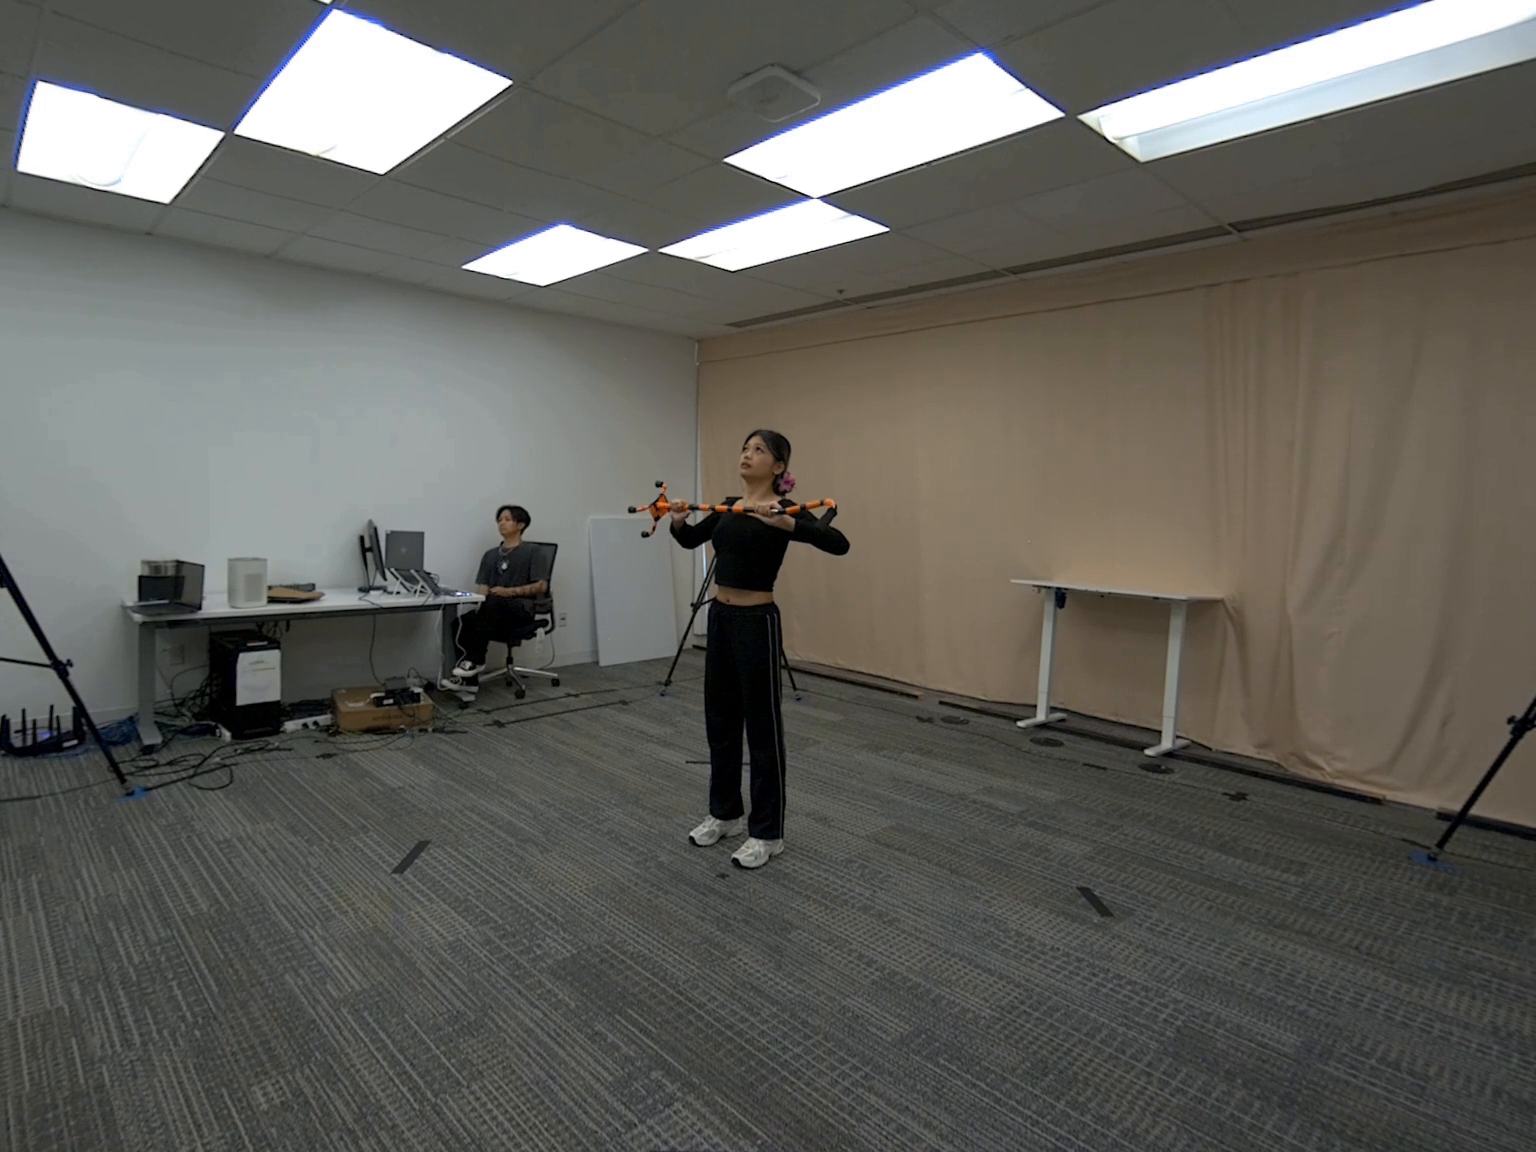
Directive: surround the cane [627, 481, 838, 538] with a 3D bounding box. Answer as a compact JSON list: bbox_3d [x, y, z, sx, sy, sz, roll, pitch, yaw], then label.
[{"bbox_3d":[-0.132,-0.237,3.086,0.931,0.148,0.206,6,43,42],"label":"cane"}]
